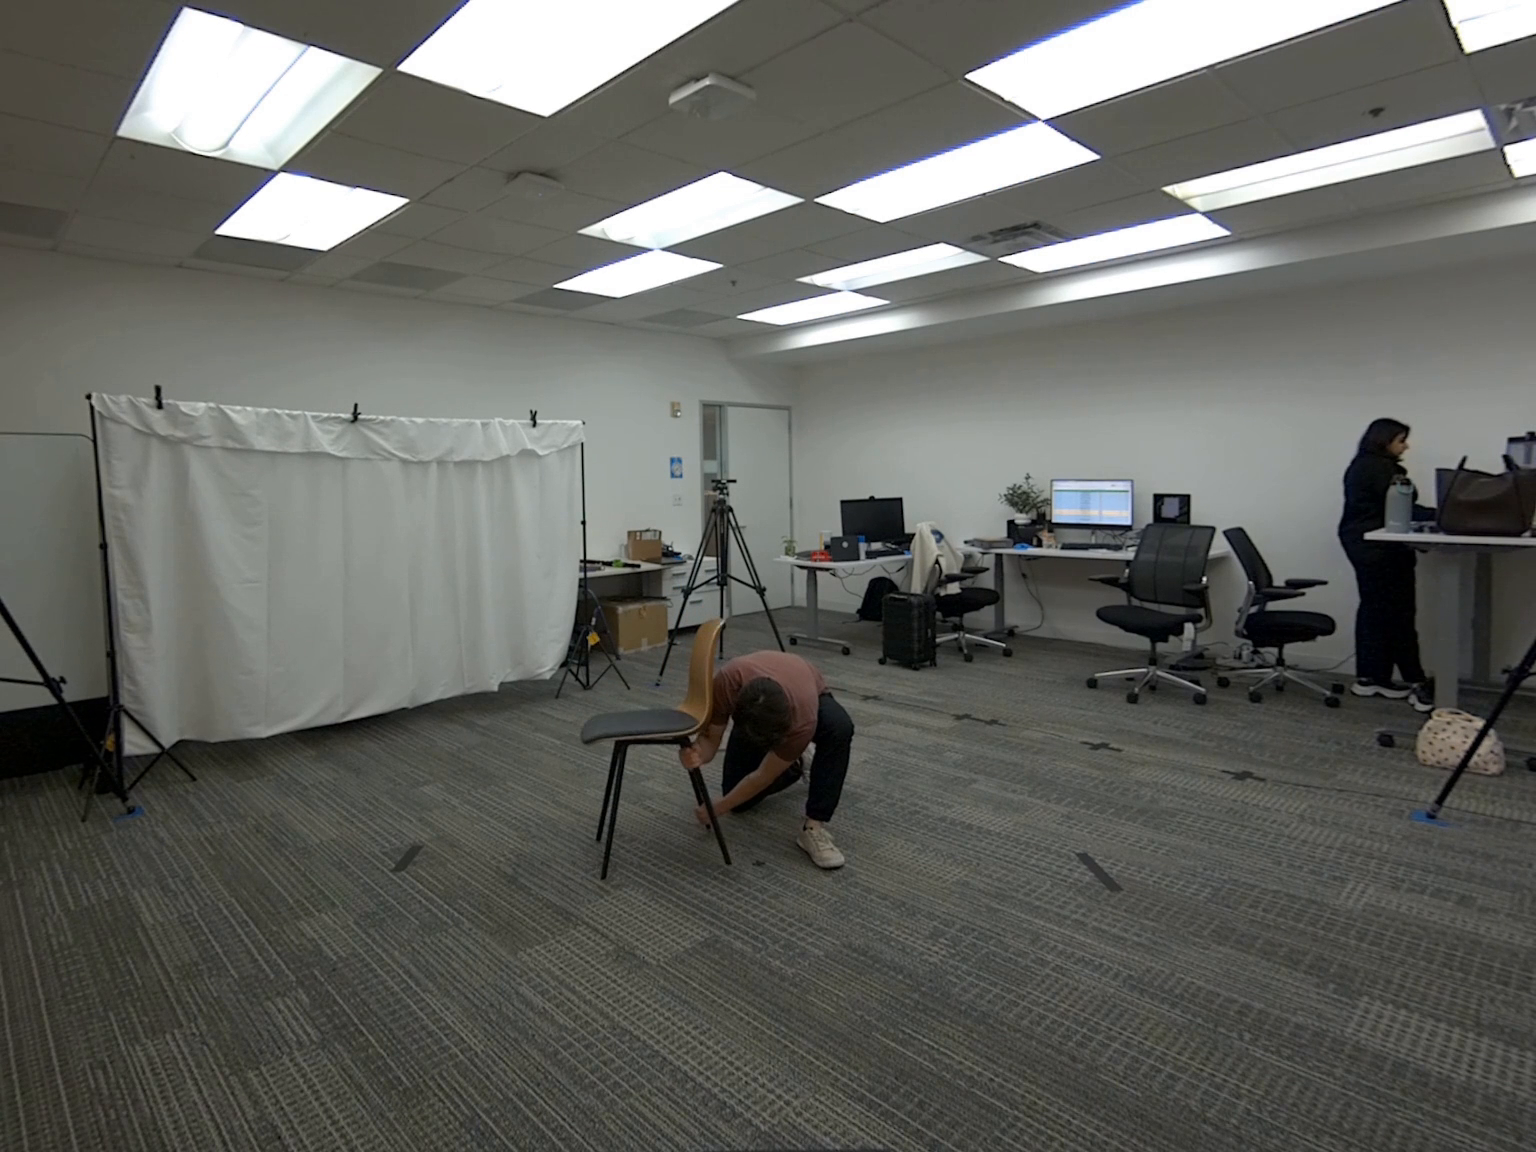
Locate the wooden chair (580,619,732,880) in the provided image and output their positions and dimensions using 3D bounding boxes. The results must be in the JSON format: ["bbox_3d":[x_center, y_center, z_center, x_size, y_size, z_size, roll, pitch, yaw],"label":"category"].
[{"bbox_3d":[-0.431,0.598,3.162,0.517,0.879,0.483,2,-2,-13],"label":"wooden chair"}]
